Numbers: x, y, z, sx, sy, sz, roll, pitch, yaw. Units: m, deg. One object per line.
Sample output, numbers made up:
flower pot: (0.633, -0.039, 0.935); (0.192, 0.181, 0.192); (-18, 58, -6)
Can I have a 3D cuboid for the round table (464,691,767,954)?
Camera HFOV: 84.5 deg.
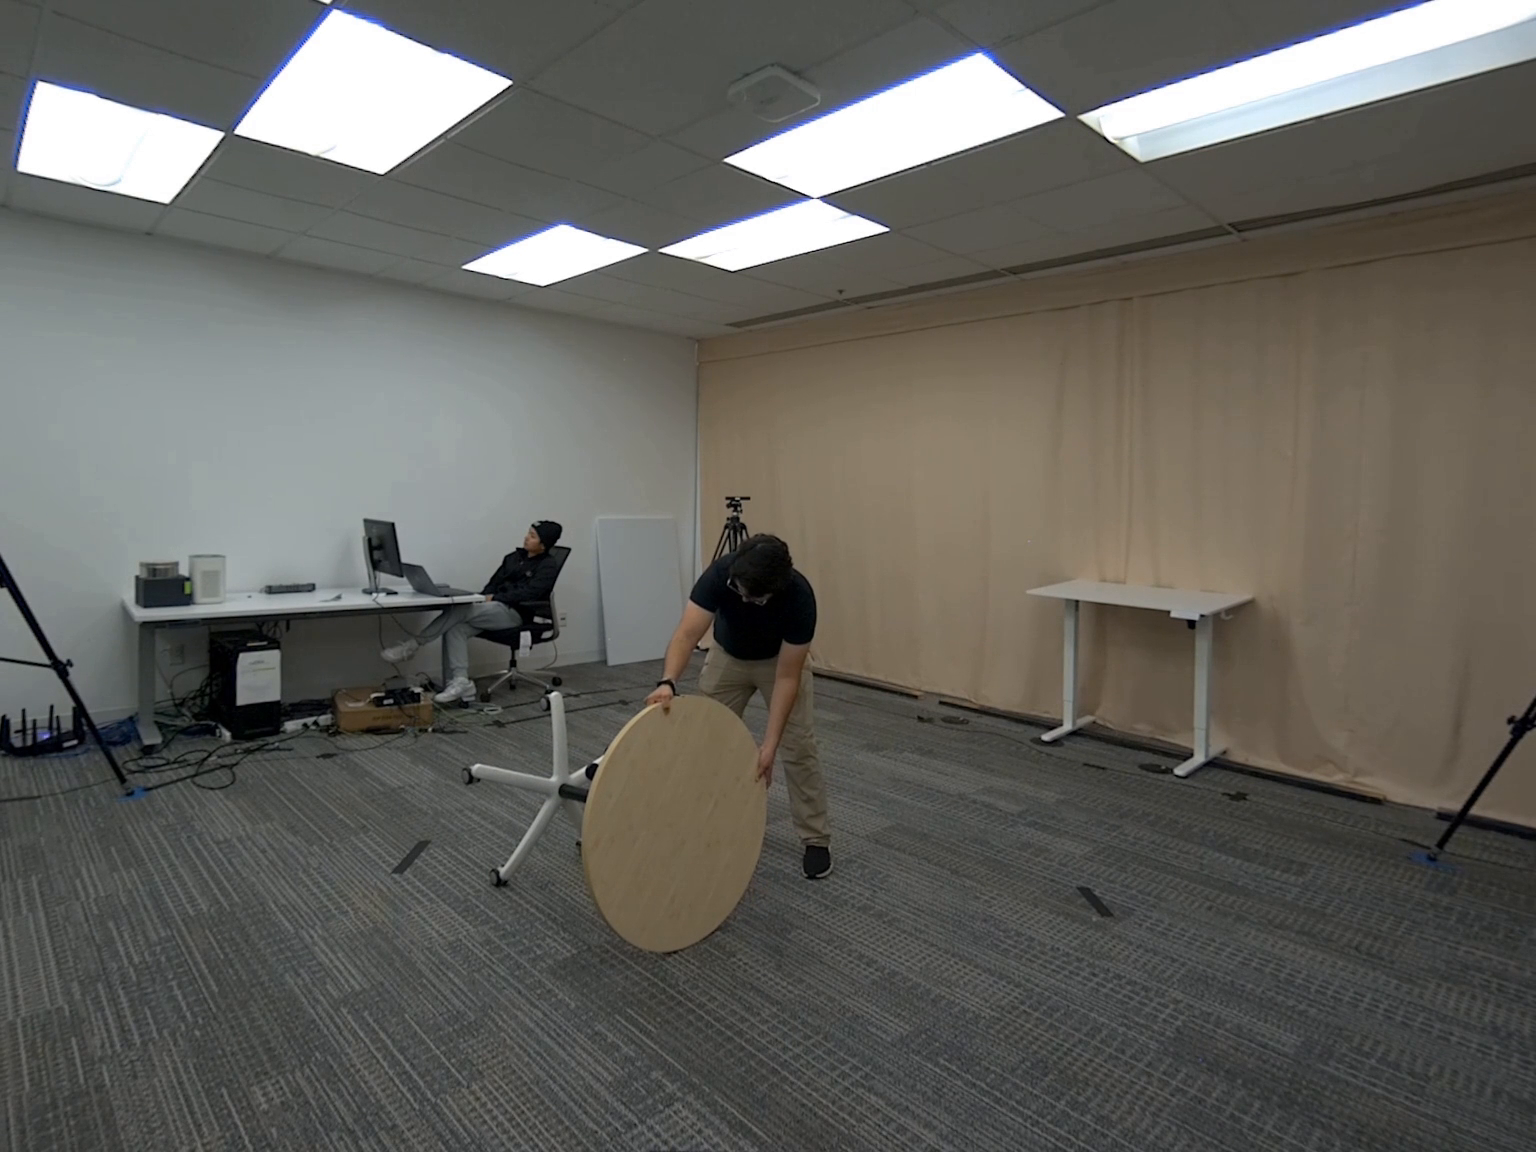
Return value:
round table: (-0.565, 0.770, 2.897); (0.804, 0.785, 0.767); (-4, 0, 41)
